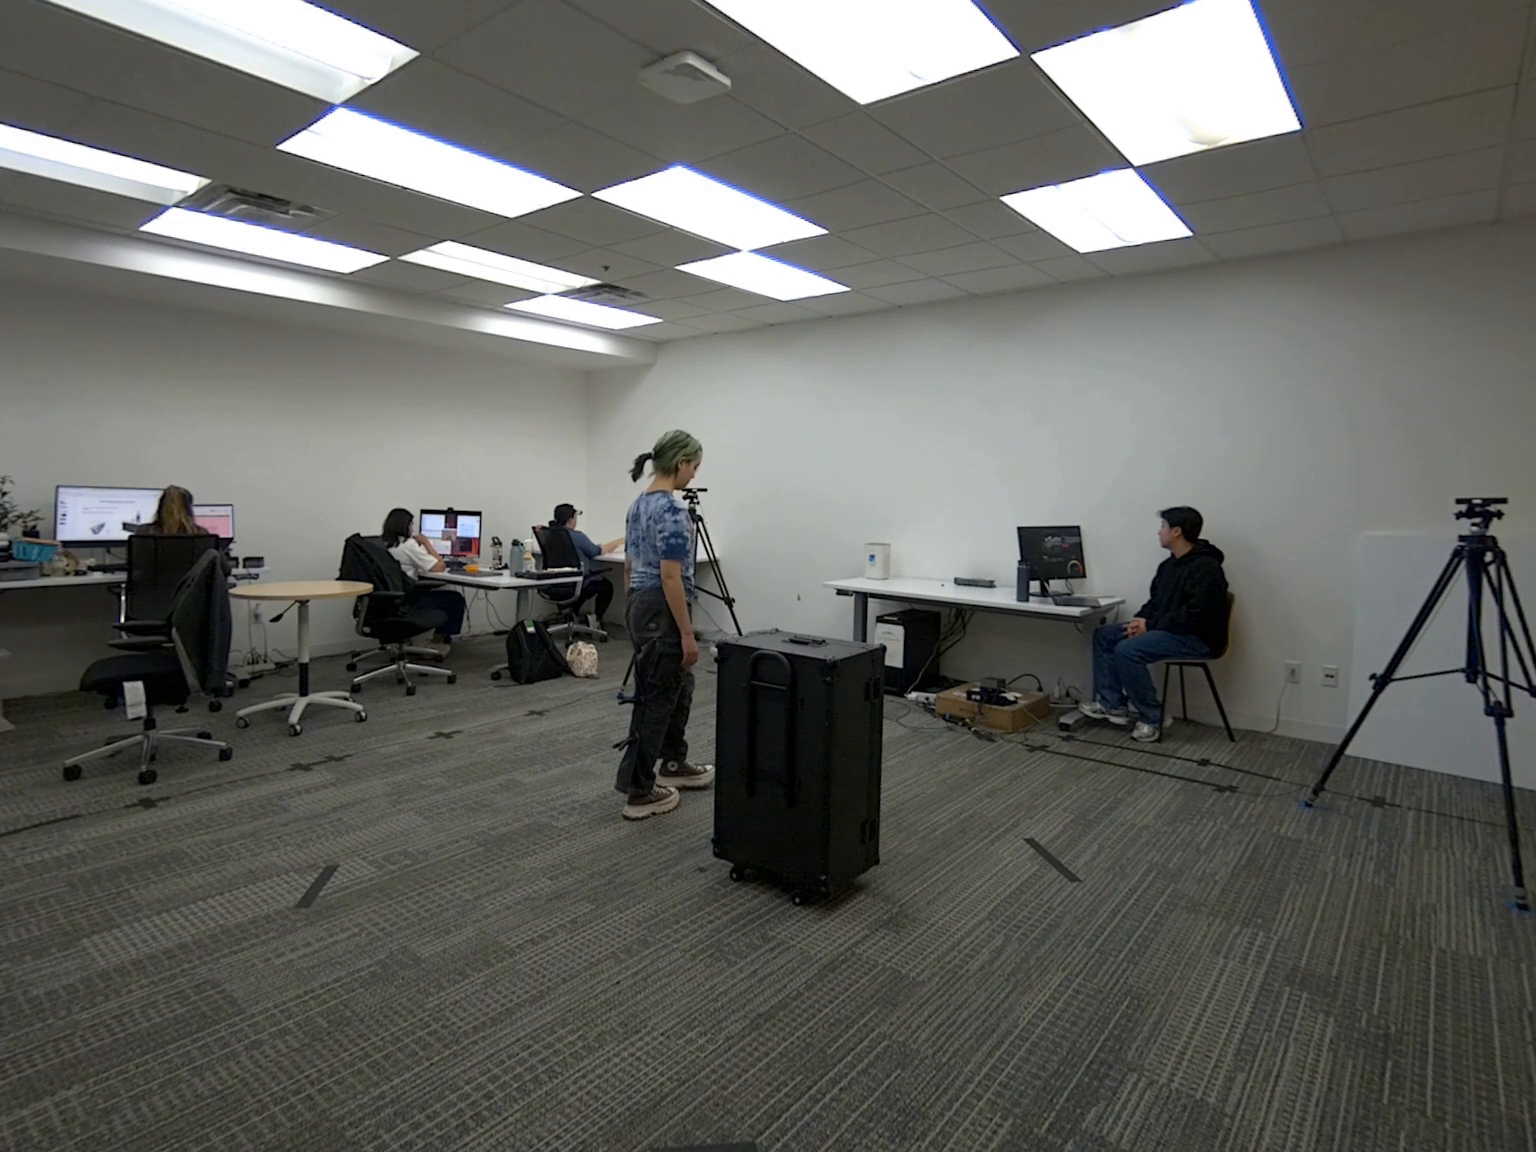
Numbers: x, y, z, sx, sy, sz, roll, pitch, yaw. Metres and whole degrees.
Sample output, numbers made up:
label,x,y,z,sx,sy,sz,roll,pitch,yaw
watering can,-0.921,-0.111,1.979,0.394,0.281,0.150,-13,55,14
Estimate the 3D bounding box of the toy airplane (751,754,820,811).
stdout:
label,x,y,z,sx,sy,sz,roll,pitch,yaw
toy airplane,0.072,0.927,3.803,0.248,0.156,0.263,0,6,-10
